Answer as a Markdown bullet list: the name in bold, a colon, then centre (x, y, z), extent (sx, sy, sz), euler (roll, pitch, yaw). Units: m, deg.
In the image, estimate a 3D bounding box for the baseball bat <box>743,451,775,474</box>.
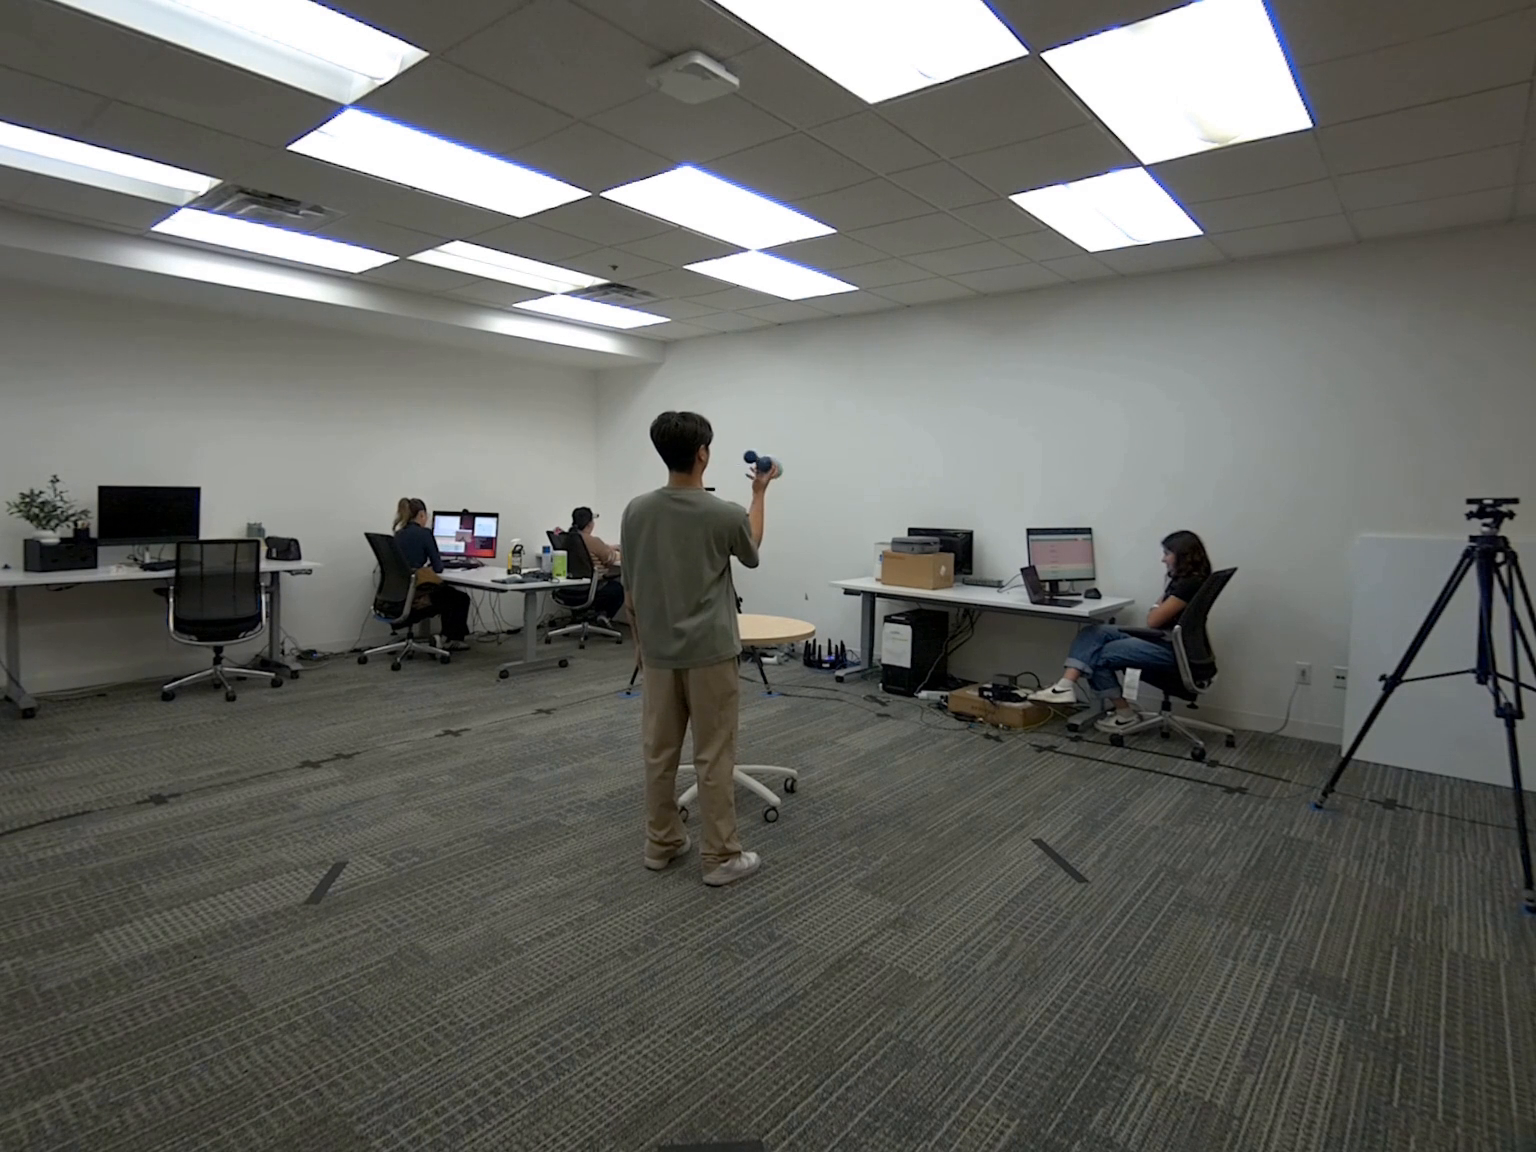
- **baseball bat**: centre (-0.030, -0.453, 3.393), extent (0.090, 0.089, 0.537), euler (2, 2, 8)
